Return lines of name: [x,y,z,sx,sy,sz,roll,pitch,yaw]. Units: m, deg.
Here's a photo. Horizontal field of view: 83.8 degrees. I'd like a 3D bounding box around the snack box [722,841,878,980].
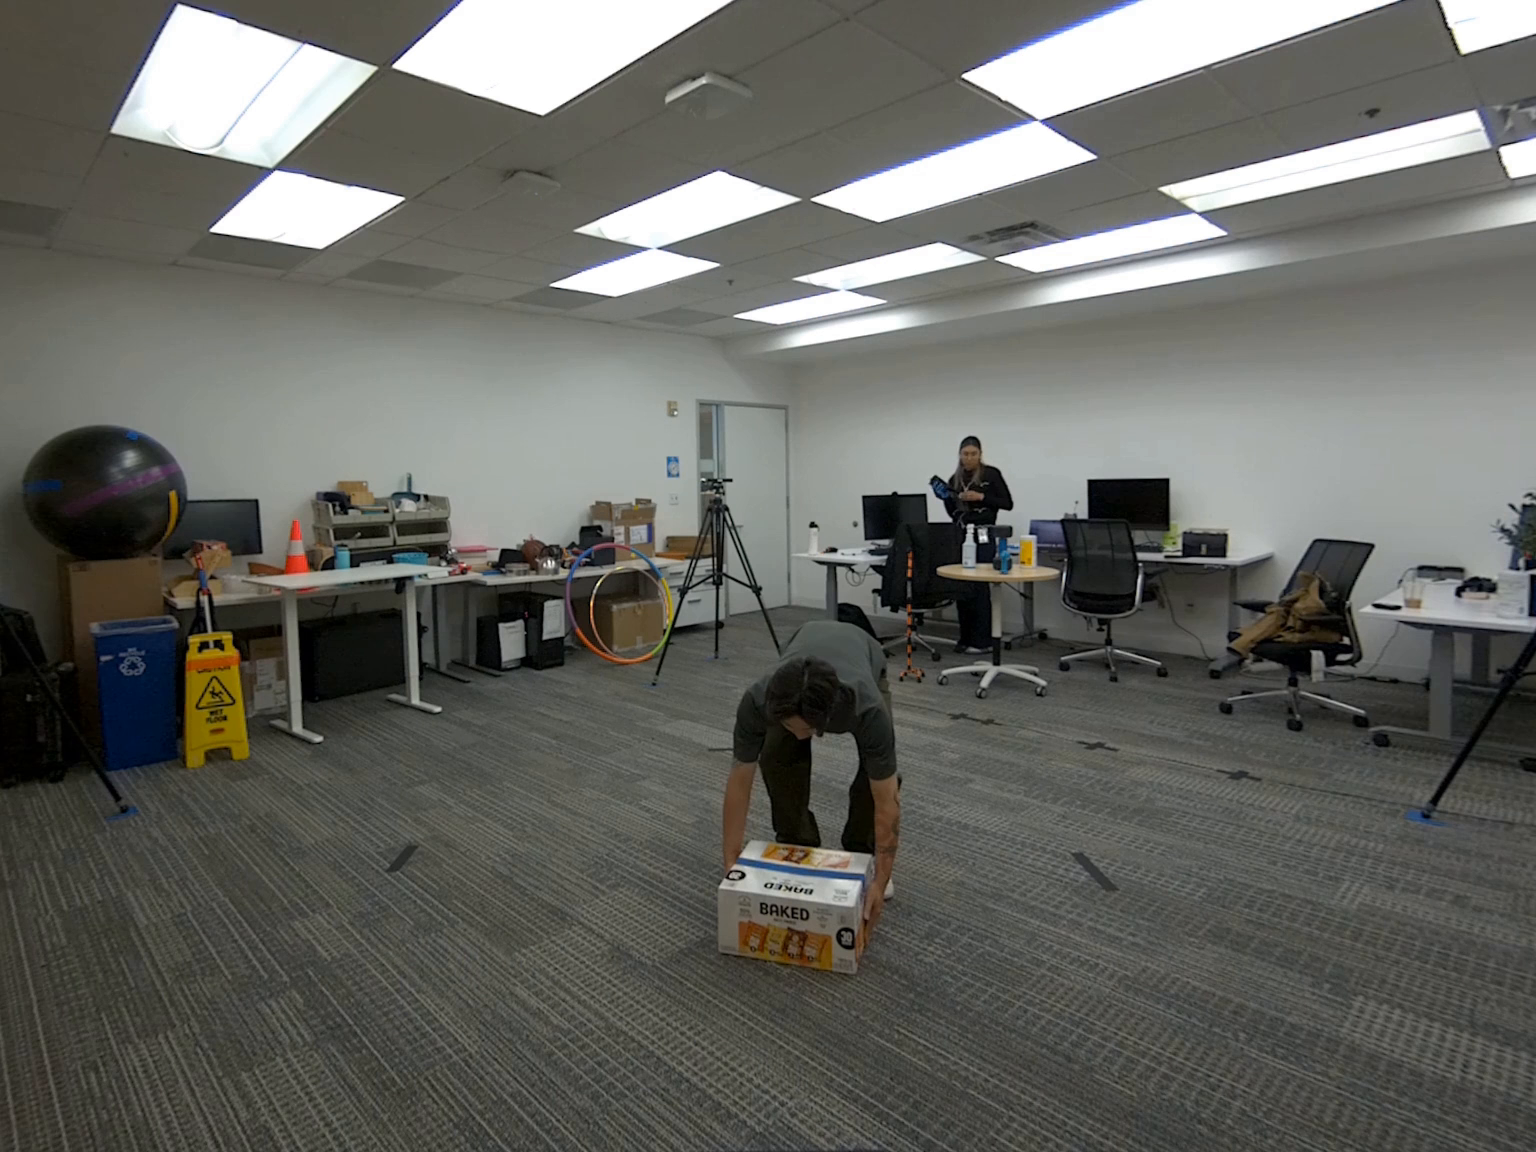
snack box: [0.106,0.999,2.607,0.412,0.205,0.336,1,6,16]
